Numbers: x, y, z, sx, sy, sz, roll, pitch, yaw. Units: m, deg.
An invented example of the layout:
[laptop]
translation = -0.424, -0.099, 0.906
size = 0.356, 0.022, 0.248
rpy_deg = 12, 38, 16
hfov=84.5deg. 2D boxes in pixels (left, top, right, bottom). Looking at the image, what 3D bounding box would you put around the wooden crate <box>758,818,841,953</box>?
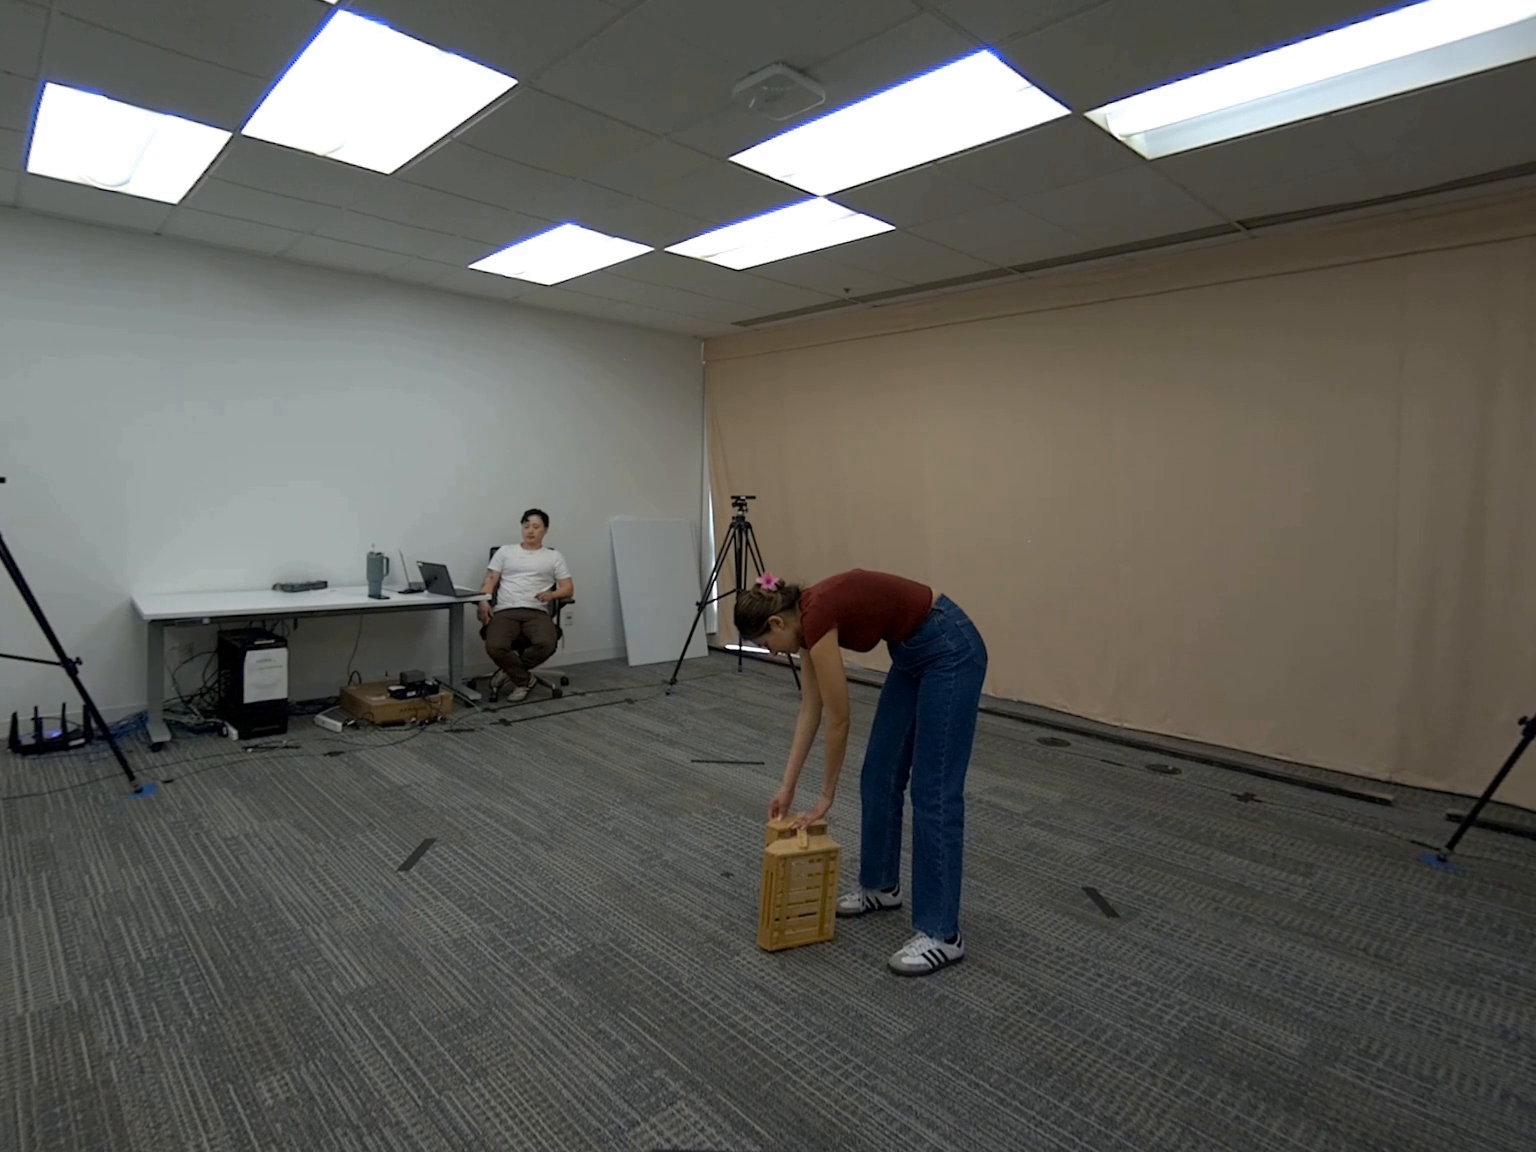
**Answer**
[wooden crate]
translation = 0.066, 0.973, 2.724
size = 0.296, 0.323, 0.279
rpy_deg = 2, 5, -25
